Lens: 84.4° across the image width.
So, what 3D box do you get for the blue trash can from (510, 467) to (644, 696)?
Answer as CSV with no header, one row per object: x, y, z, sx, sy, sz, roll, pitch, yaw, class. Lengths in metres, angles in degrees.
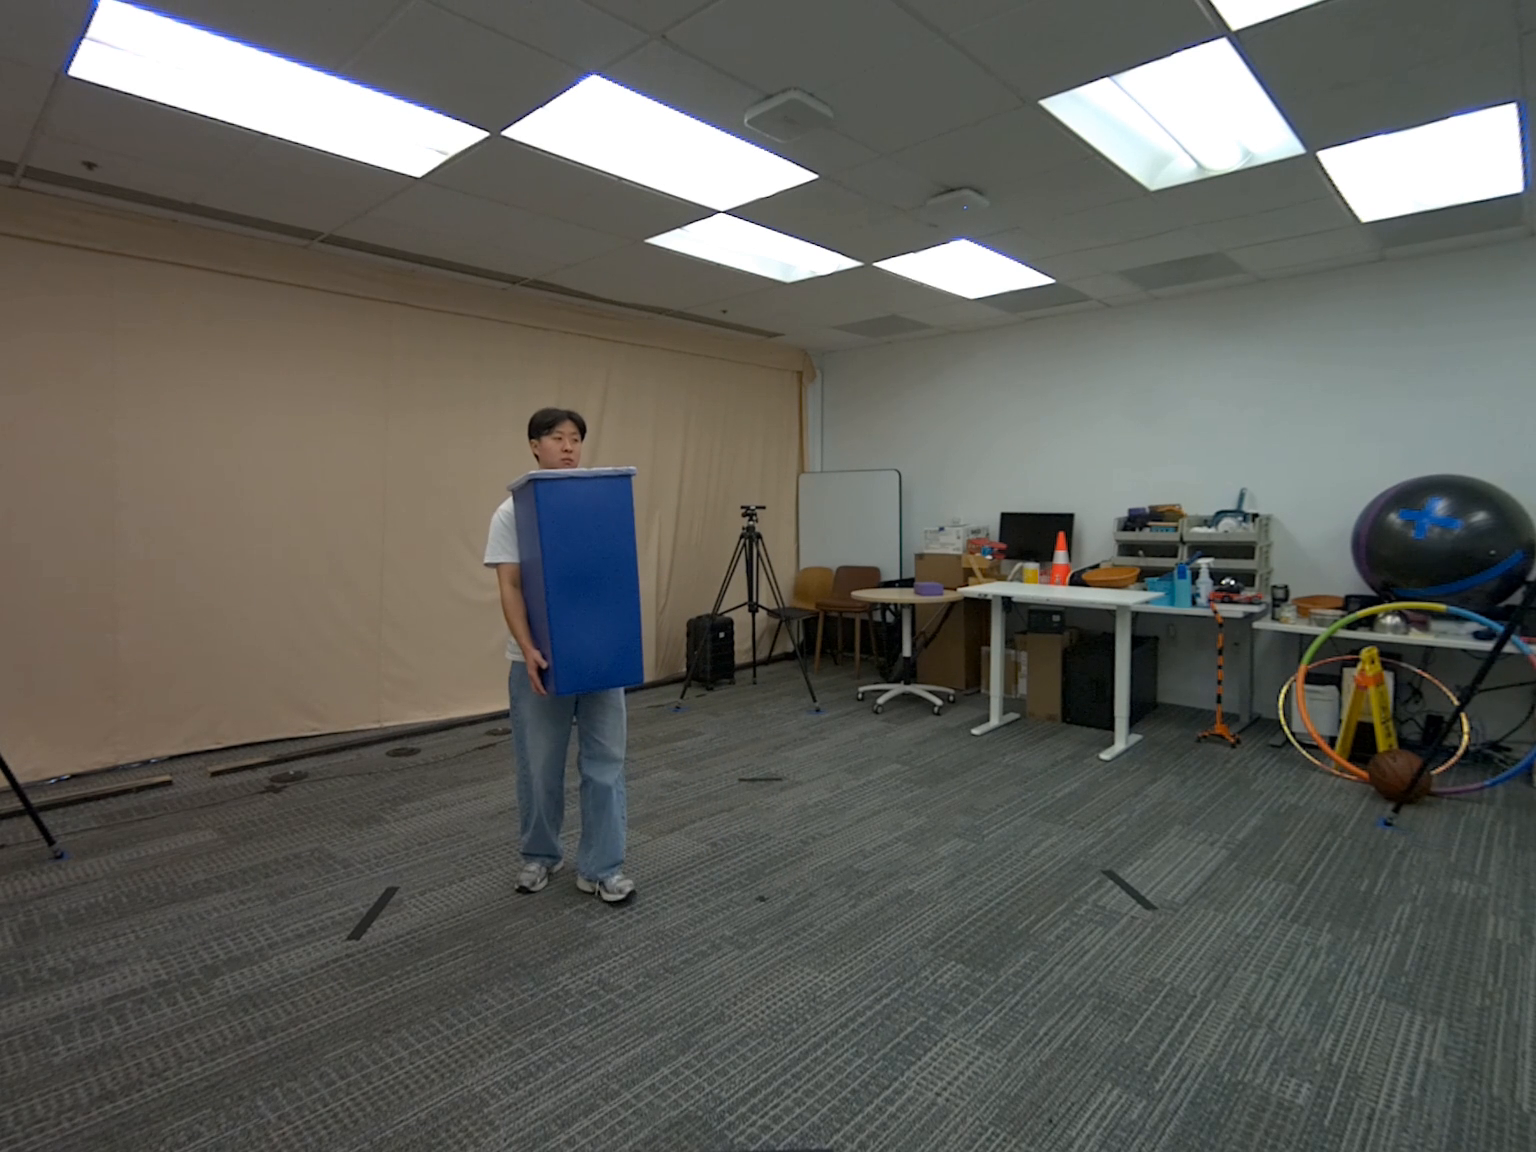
-0.641,0.012,2.843,0.365,0.714,0.387,-5,-2,-29,blue trash can
